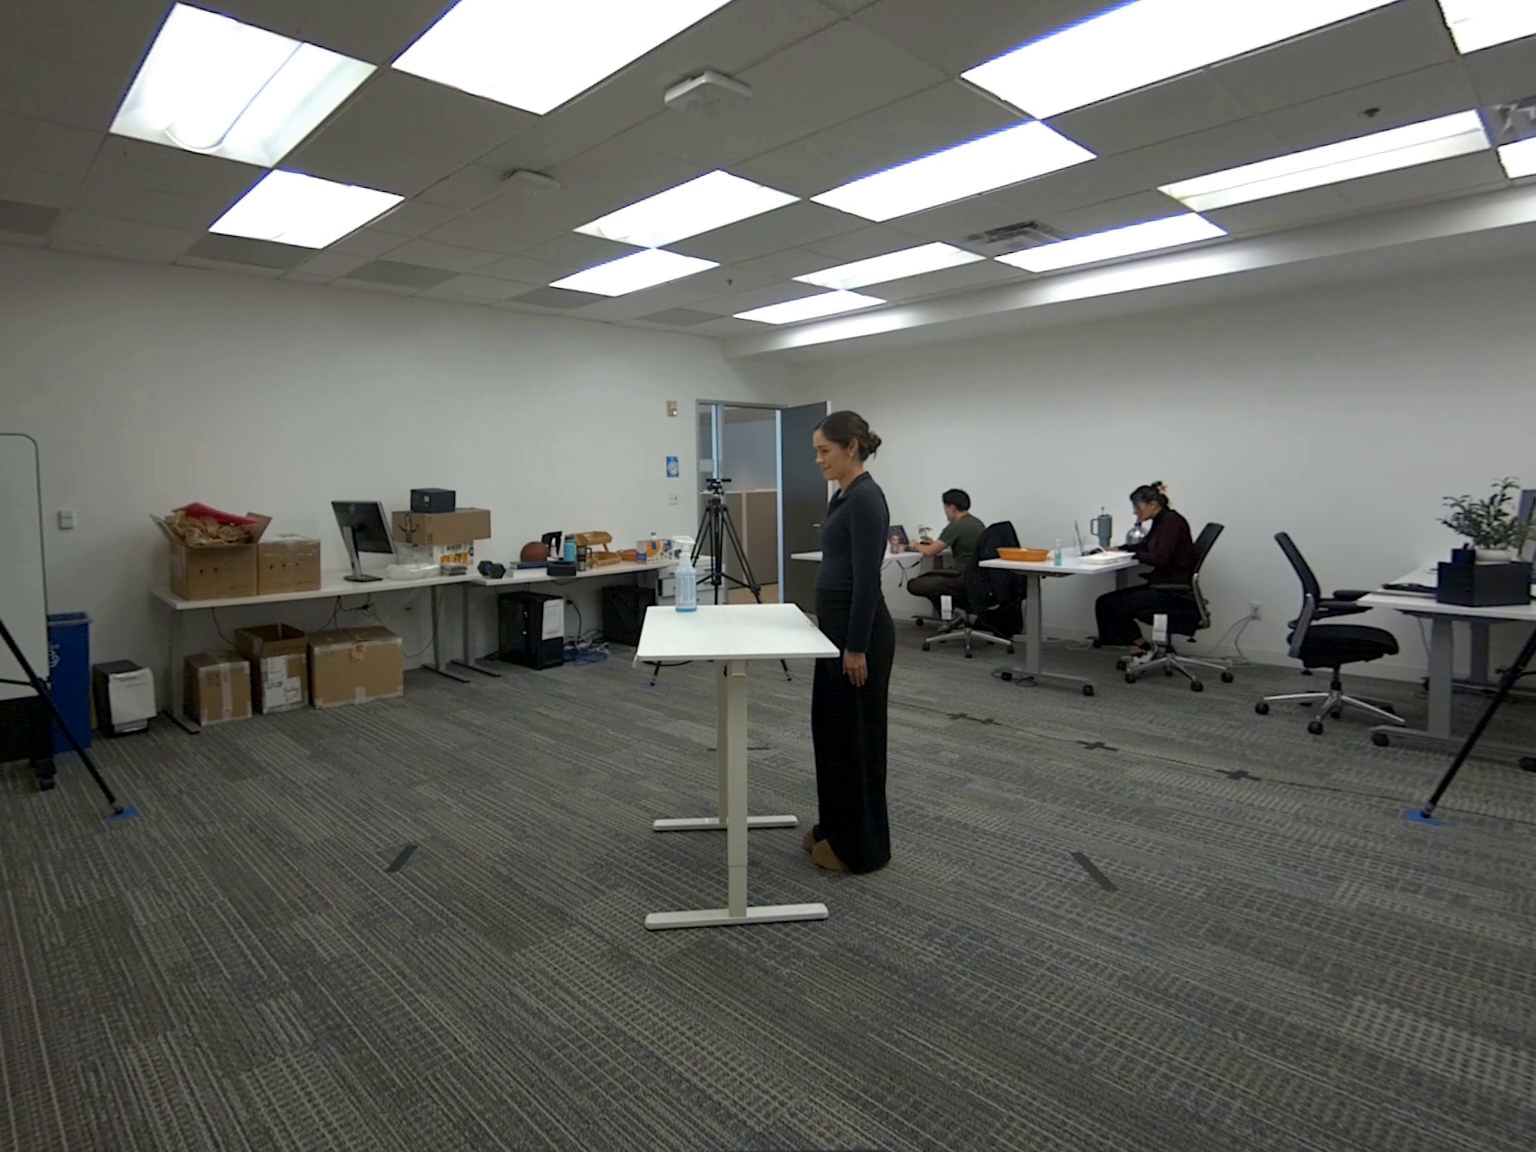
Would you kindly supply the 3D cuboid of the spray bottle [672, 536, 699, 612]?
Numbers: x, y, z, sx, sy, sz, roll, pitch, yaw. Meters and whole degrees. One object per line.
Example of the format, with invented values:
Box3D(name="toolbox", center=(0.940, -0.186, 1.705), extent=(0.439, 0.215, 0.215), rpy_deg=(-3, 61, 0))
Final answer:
Box3D(name="spray bottle", center=(-0.324, -0.008, 3.376), extent=(0.091, 0.296, 0.086), rpy_deg=(0, 6, 15))
